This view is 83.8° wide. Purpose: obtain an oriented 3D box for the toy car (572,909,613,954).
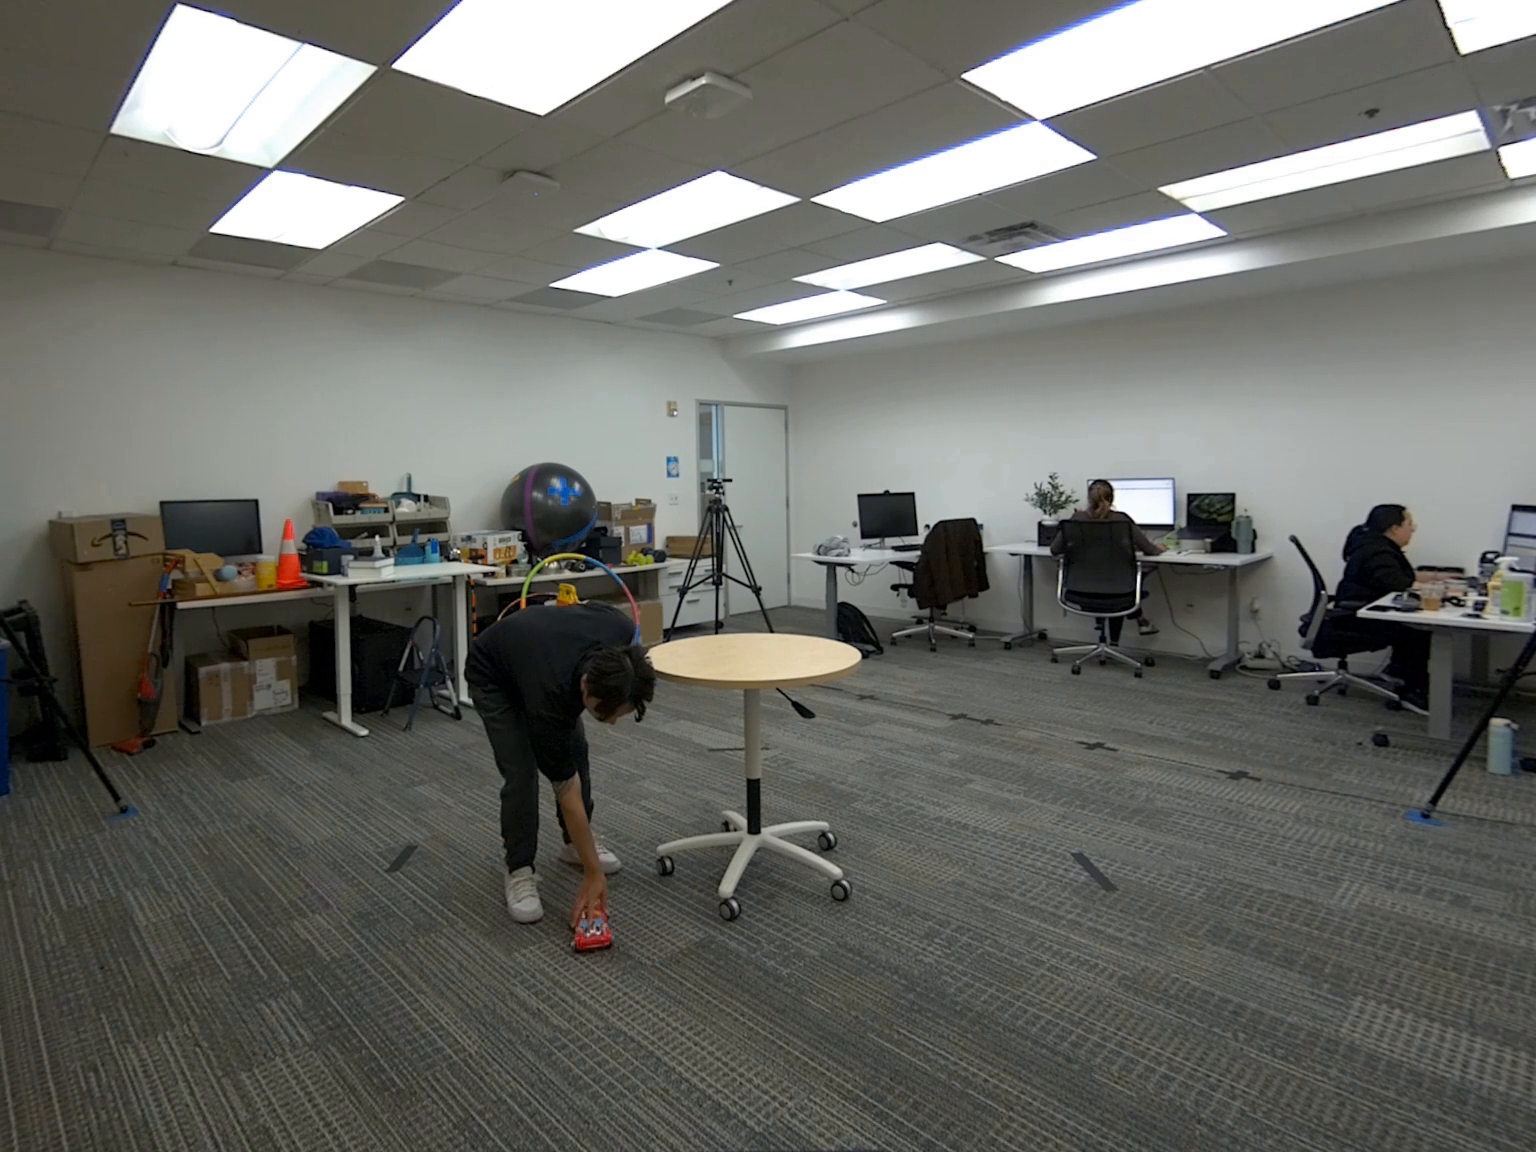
[{"bbox_3d":[-0.539,1.079,2.647,0.129,0.082,0.261,-3,18,-13],"label":"toy car"}]
